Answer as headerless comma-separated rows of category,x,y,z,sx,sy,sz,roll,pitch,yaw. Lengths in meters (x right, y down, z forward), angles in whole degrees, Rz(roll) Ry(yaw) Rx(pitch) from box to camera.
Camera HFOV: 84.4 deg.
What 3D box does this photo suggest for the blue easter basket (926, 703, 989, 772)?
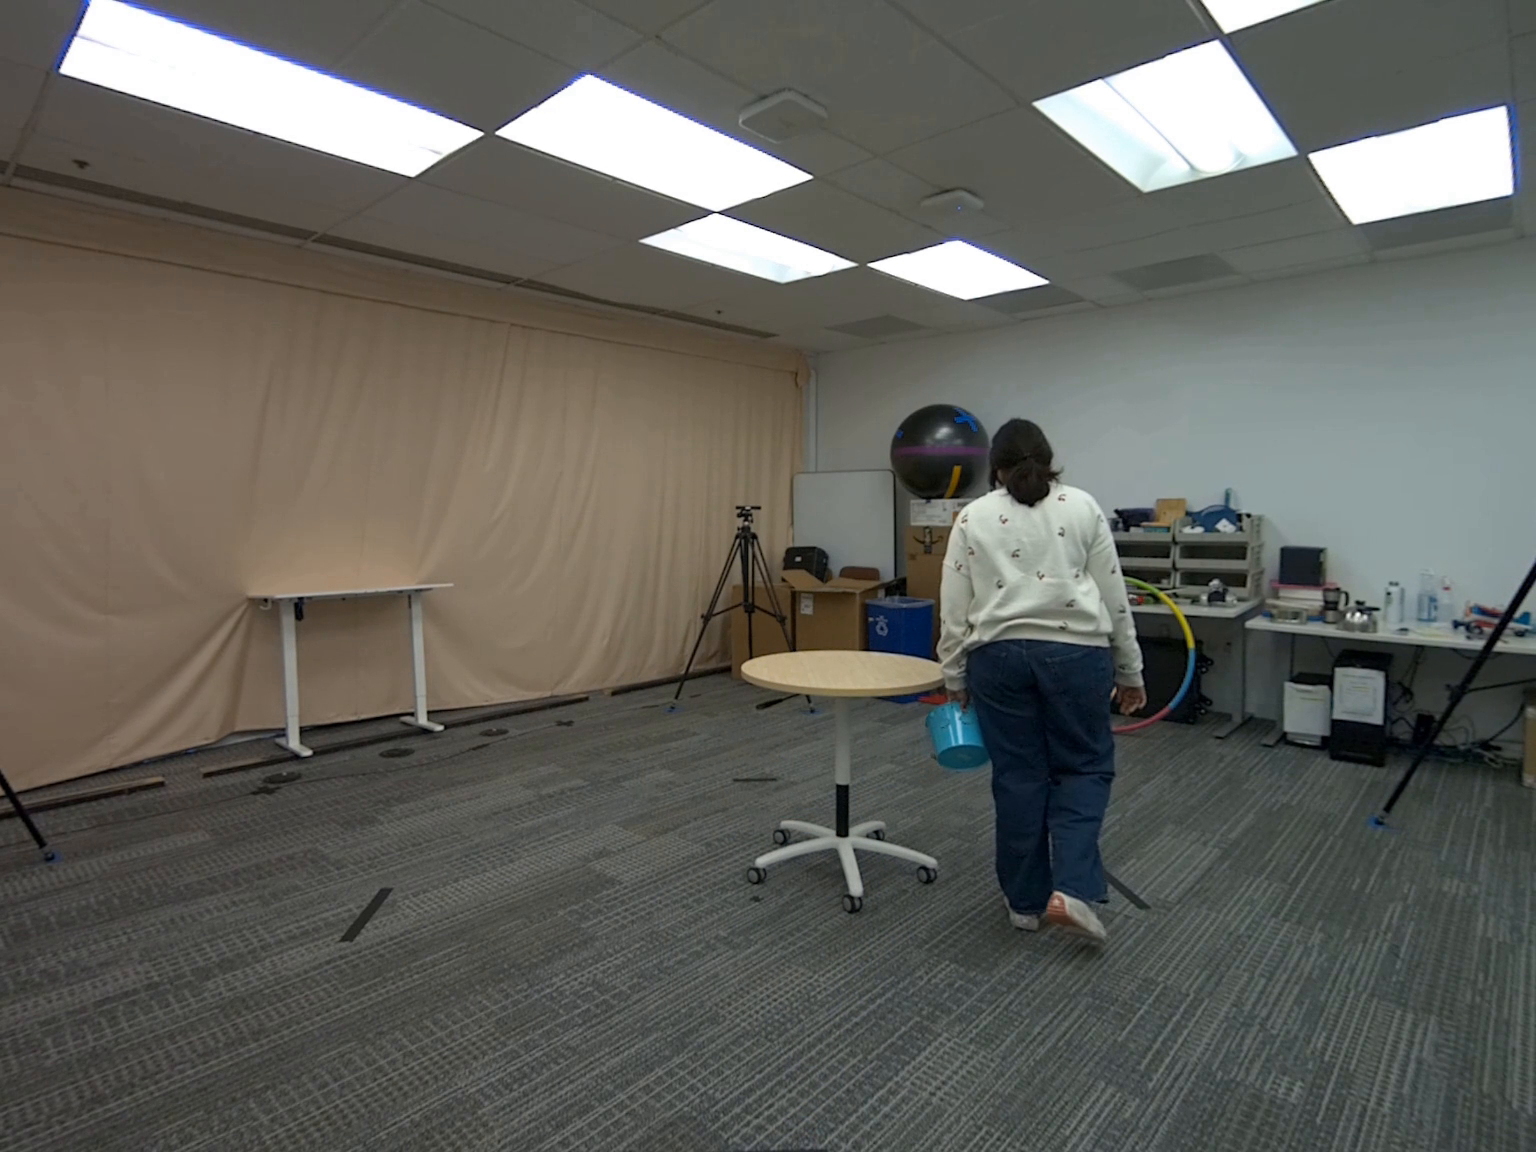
blue easter basket,0.683,0.569,2.911,0.244,0.158,0.239,4,-41,2
